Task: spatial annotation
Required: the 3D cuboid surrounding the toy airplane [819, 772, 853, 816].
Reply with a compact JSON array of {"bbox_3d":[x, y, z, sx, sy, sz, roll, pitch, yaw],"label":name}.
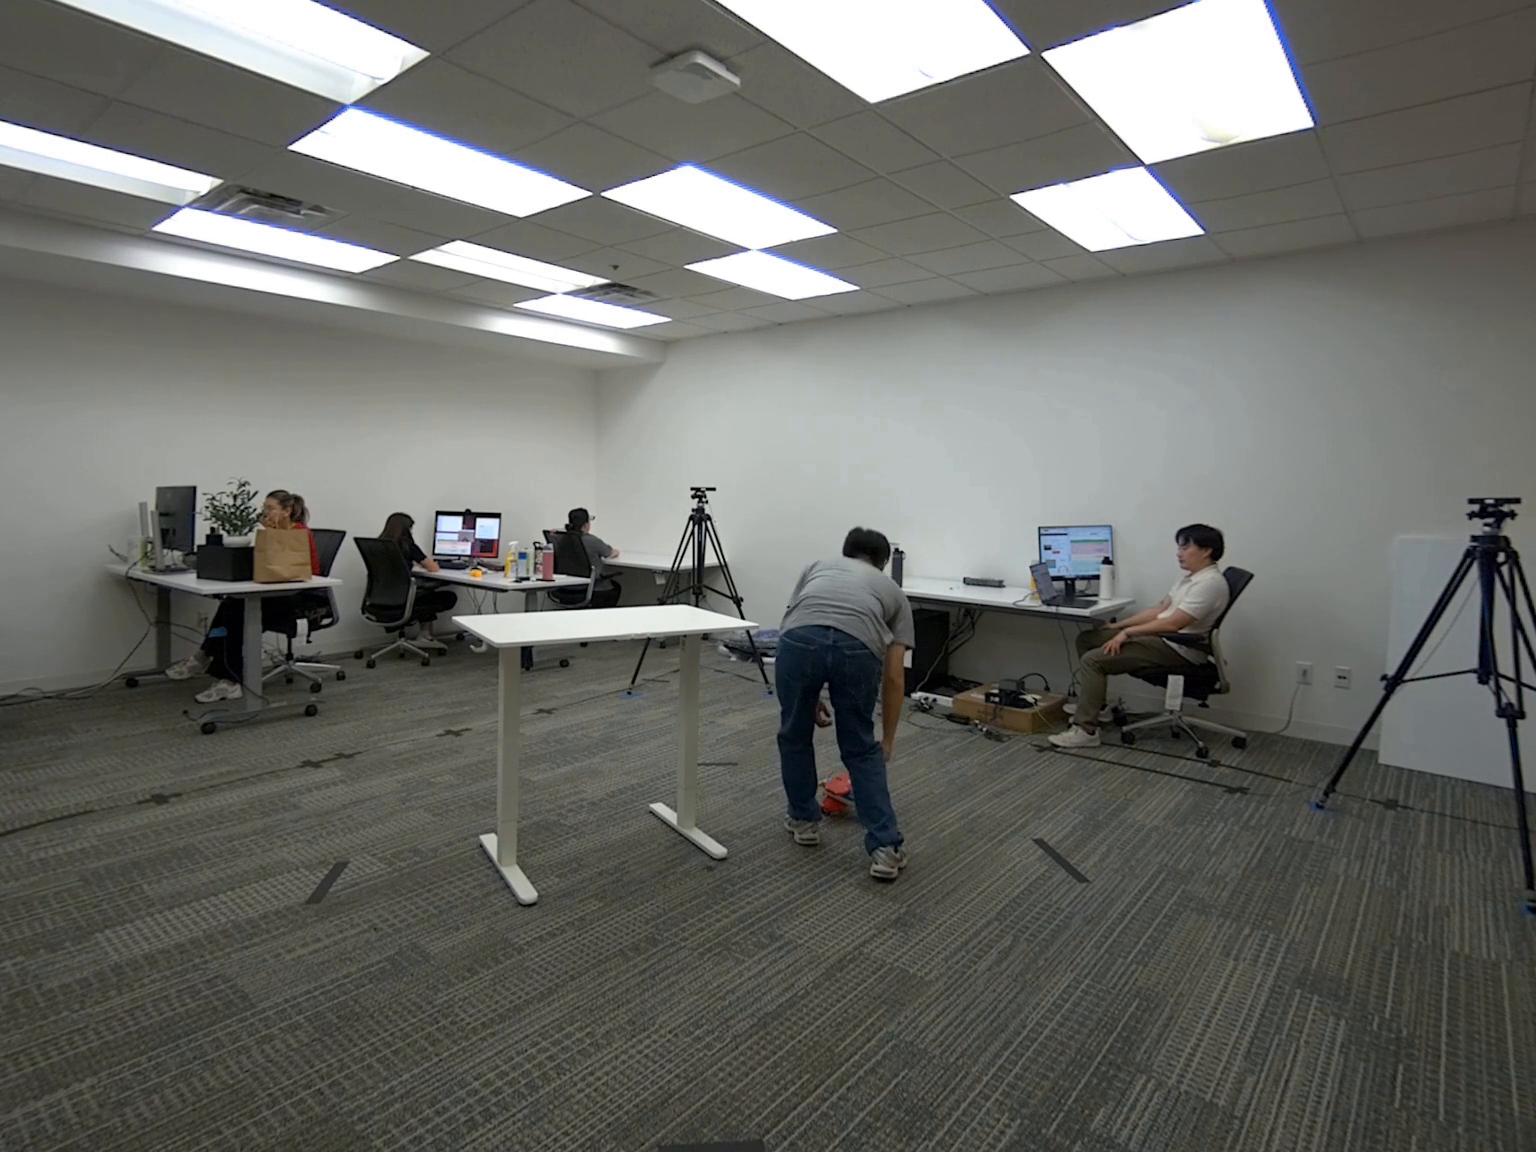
[{"bbox_3d":[0.344,0.953,3.657,0.260,0.156,0.251,0,5,3],"label":"toy airplane"}]
